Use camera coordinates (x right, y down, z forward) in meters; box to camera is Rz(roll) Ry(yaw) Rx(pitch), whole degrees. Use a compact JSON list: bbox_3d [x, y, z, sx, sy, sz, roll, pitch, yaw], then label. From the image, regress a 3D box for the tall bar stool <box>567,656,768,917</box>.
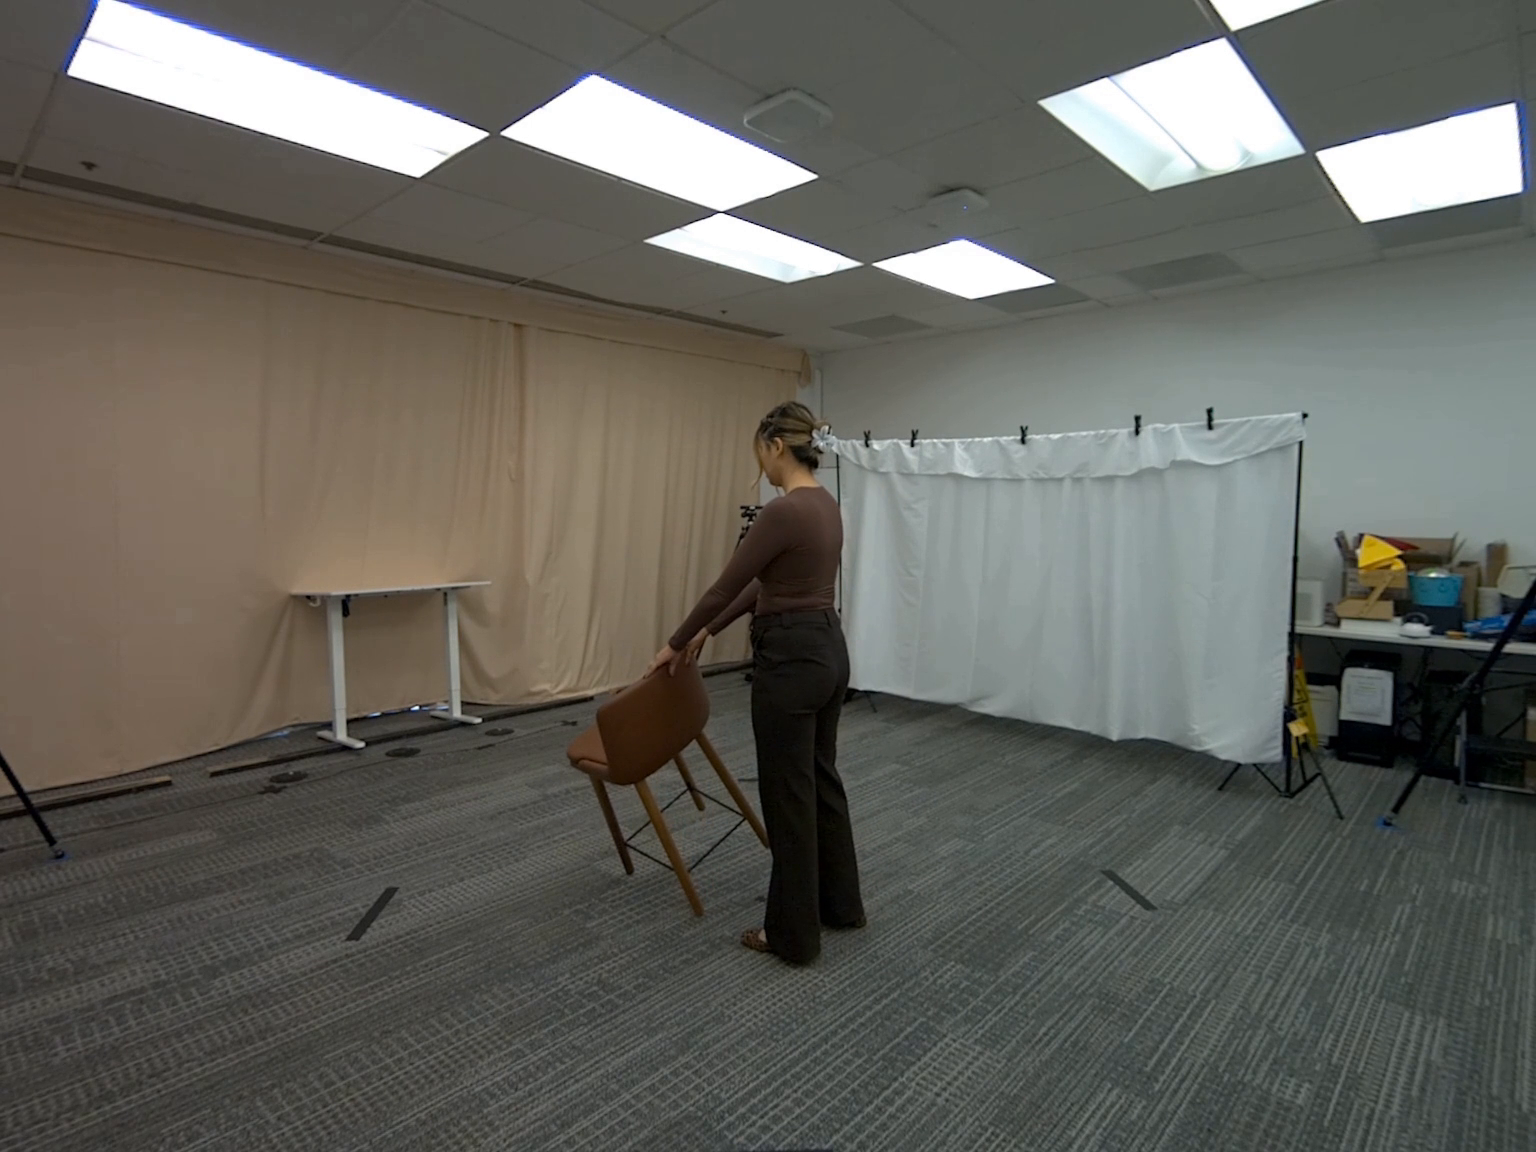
[{"bbox_3d":[-0.391,0.674,2.981,0.450,0.873,0.484,-34,26,-33],"label":"tall bar stool"}]
